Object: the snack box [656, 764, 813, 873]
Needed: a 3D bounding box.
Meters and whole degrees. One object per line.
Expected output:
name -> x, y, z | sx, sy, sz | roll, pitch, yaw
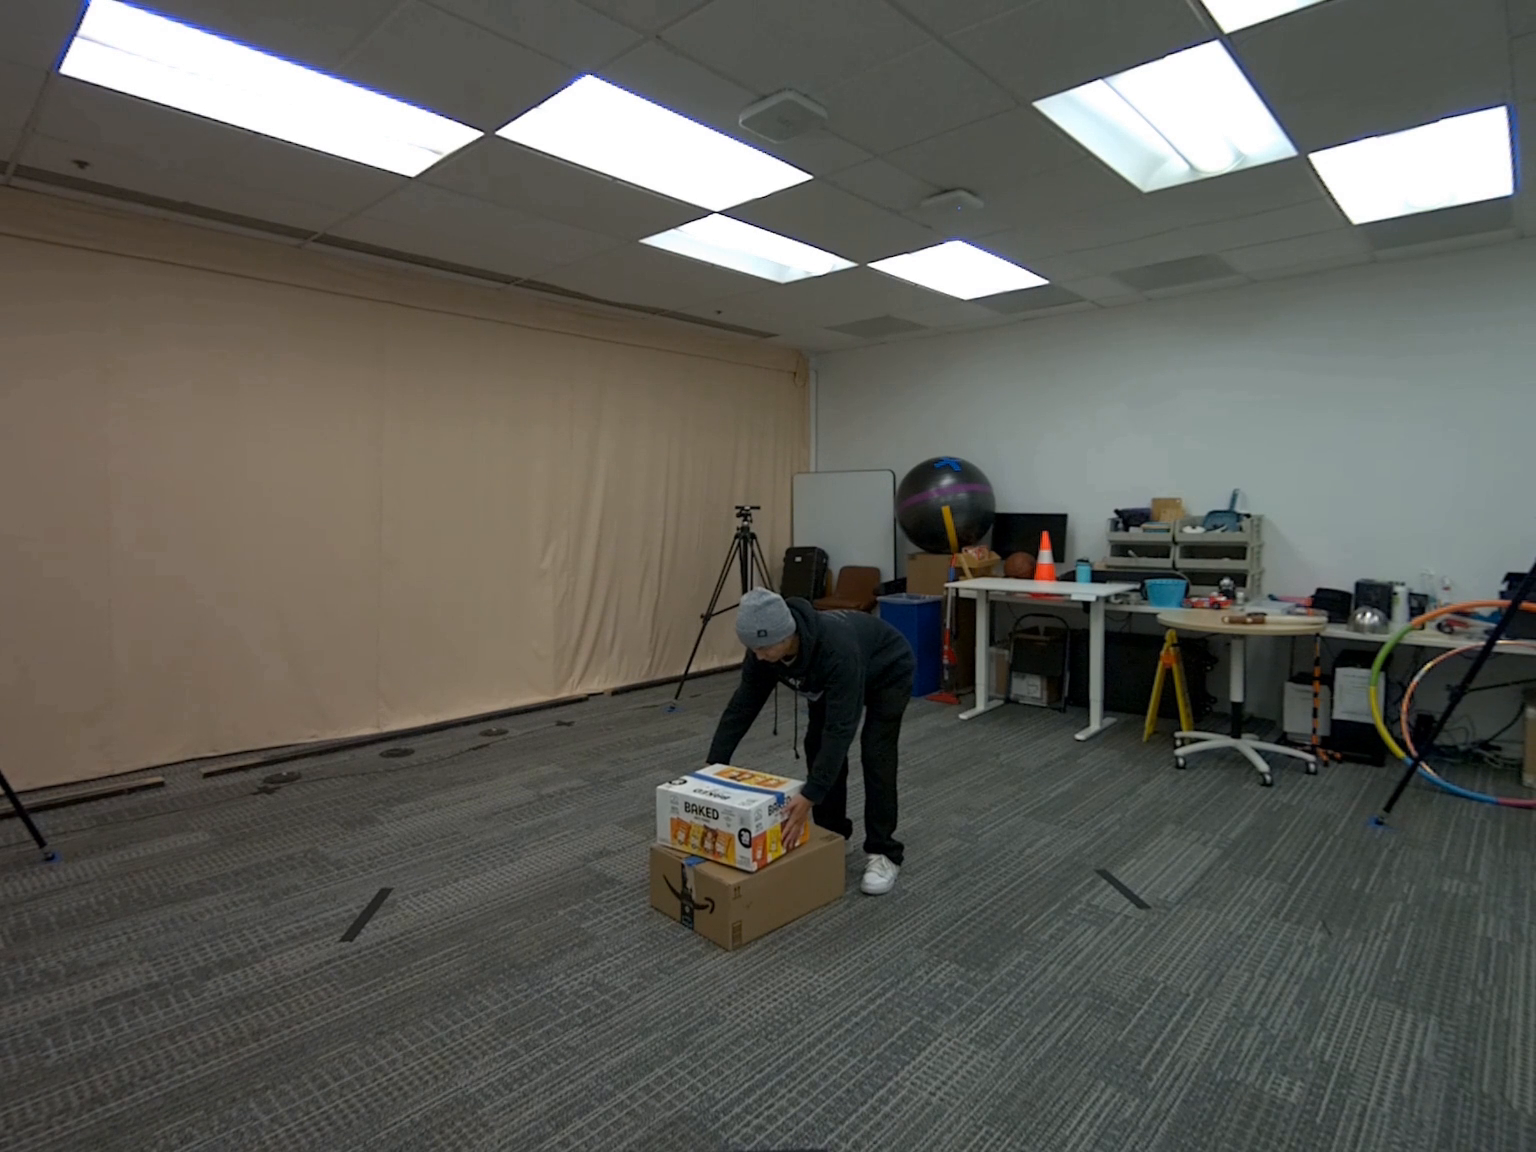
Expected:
snack box -> -0.117, 0.820, 2.919 | 0.418, 0.205, 0.330 | 2, 4, 37
